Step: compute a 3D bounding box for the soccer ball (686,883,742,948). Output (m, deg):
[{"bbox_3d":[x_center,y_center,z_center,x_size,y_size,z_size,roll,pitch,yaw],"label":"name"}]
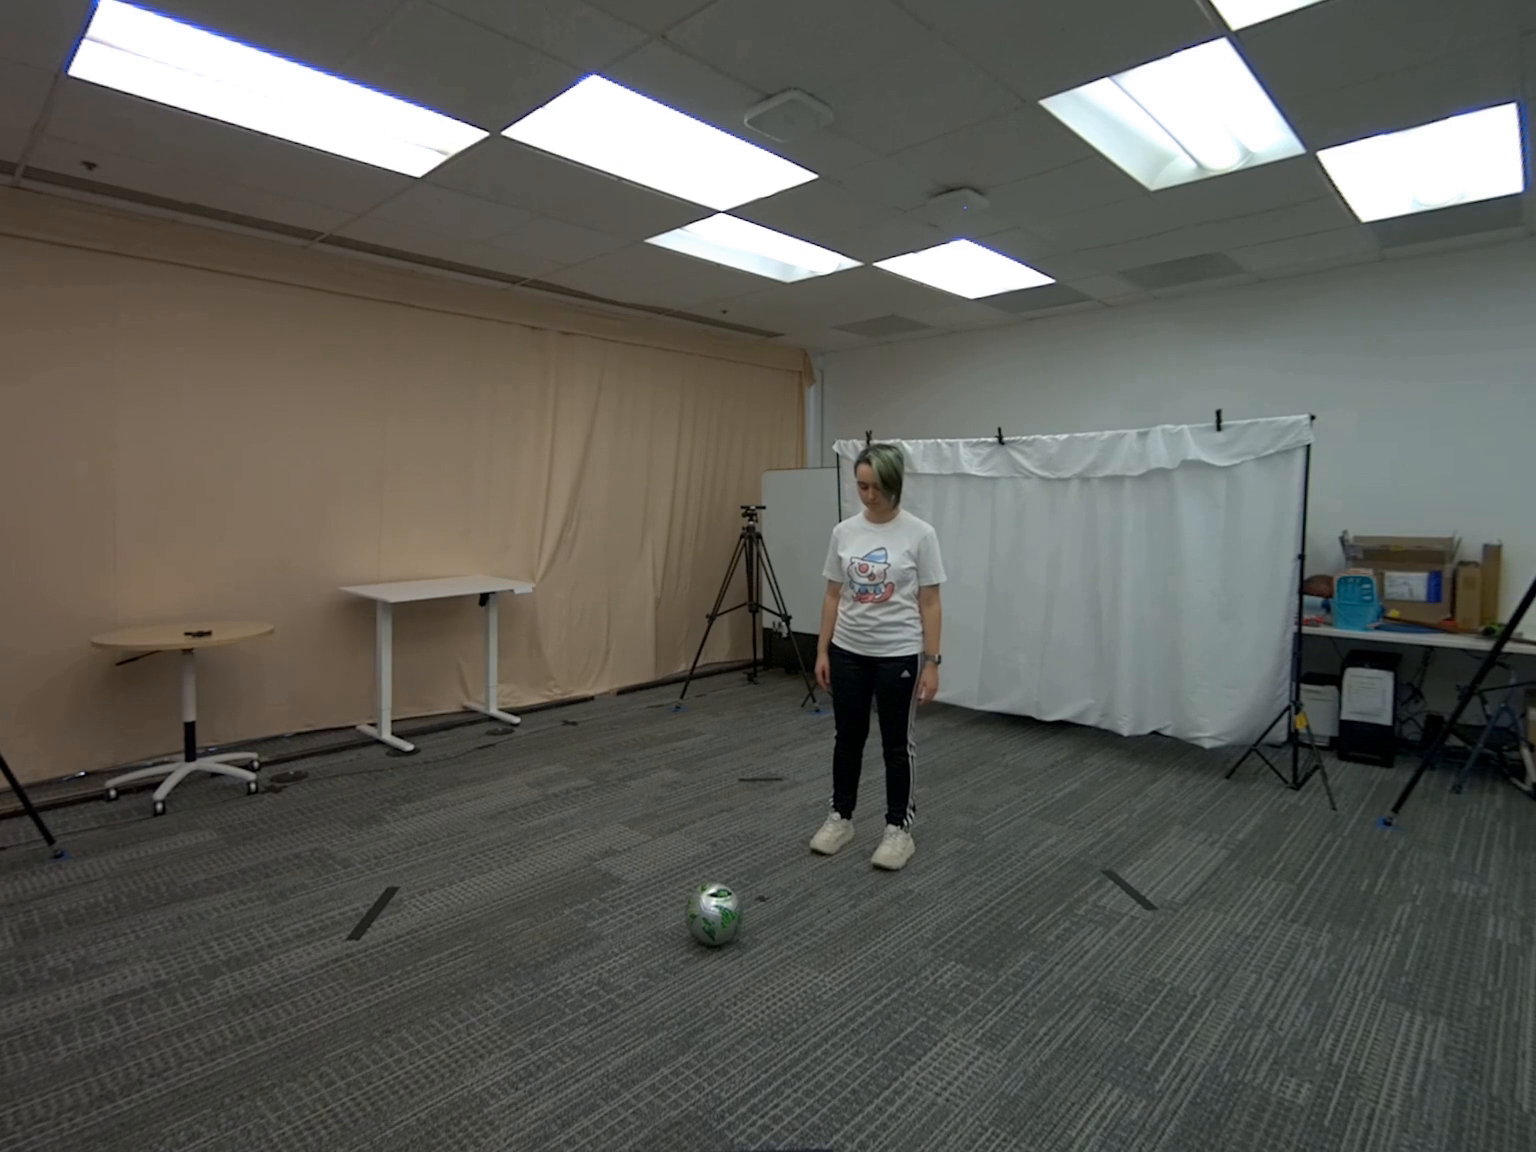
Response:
[{"bbox_3d":[-0.172,1.075,2.684,0.187,0.187,0.188,0,4,-2],"label":"soccer ball"}]
